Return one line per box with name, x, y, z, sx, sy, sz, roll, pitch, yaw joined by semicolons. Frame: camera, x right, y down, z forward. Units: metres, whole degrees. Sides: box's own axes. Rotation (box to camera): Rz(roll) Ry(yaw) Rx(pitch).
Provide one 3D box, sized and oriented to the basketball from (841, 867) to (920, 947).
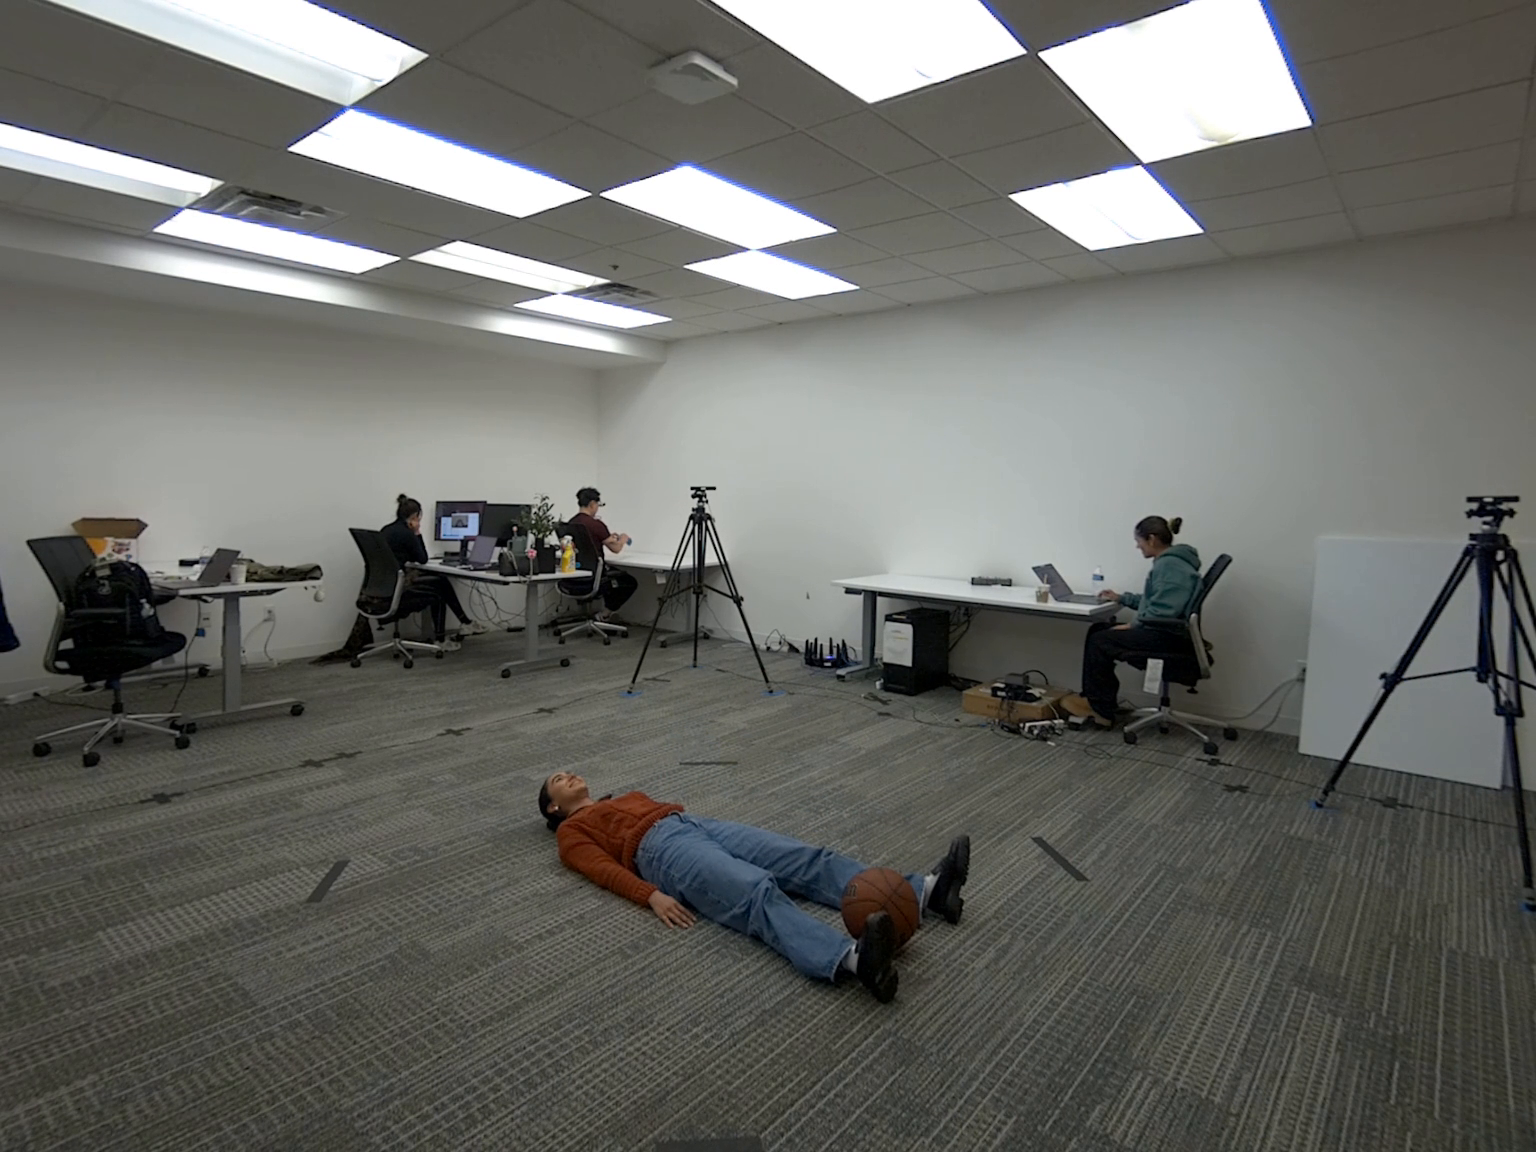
basketball;0.335;1.010;2.589;0.236;0.235;0.237;1;4;-2
